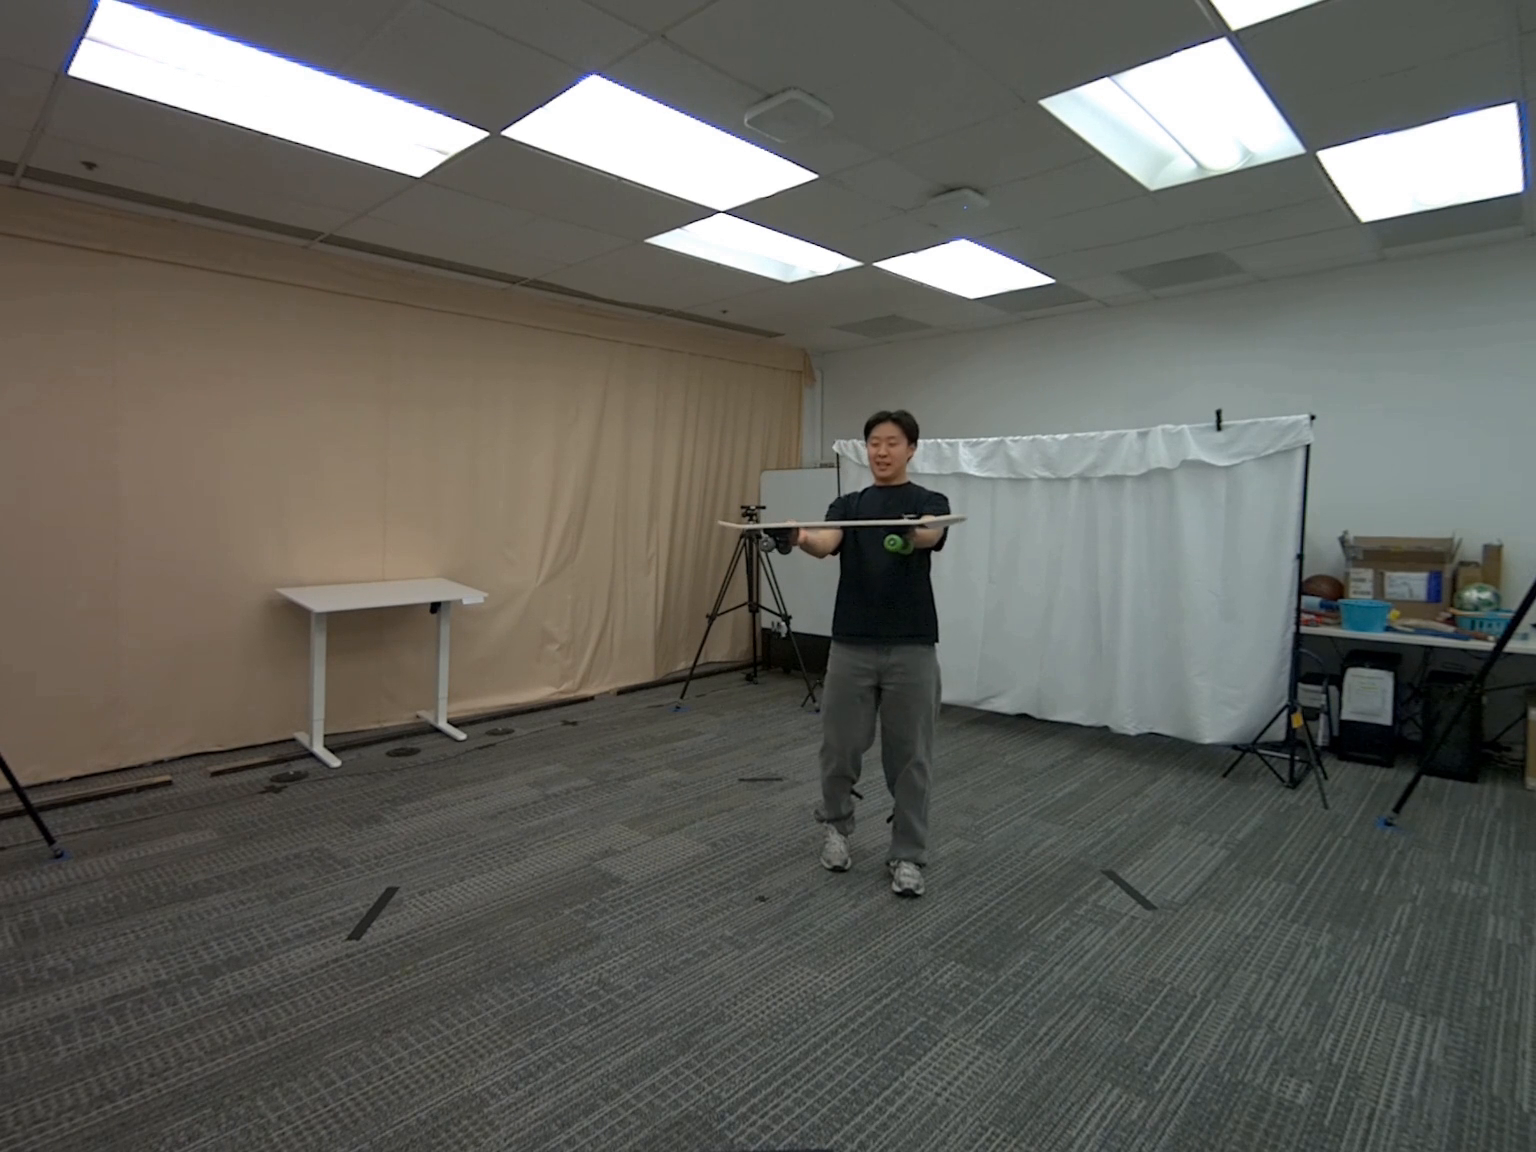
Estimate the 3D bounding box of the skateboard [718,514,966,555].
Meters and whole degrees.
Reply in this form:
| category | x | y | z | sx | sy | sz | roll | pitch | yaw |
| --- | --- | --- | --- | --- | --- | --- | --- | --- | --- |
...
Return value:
| category | x | y | z | sx | sy | sz | roll | pitch | yaw |
| --- | --- | --- | --- | --- | --- | --- | --- | --- | --- |
| skateboard | 0.213 | -0.121 | 2.624 | 0.805 | 0.110 | 0.188 | 1 | -1 | 25 |
